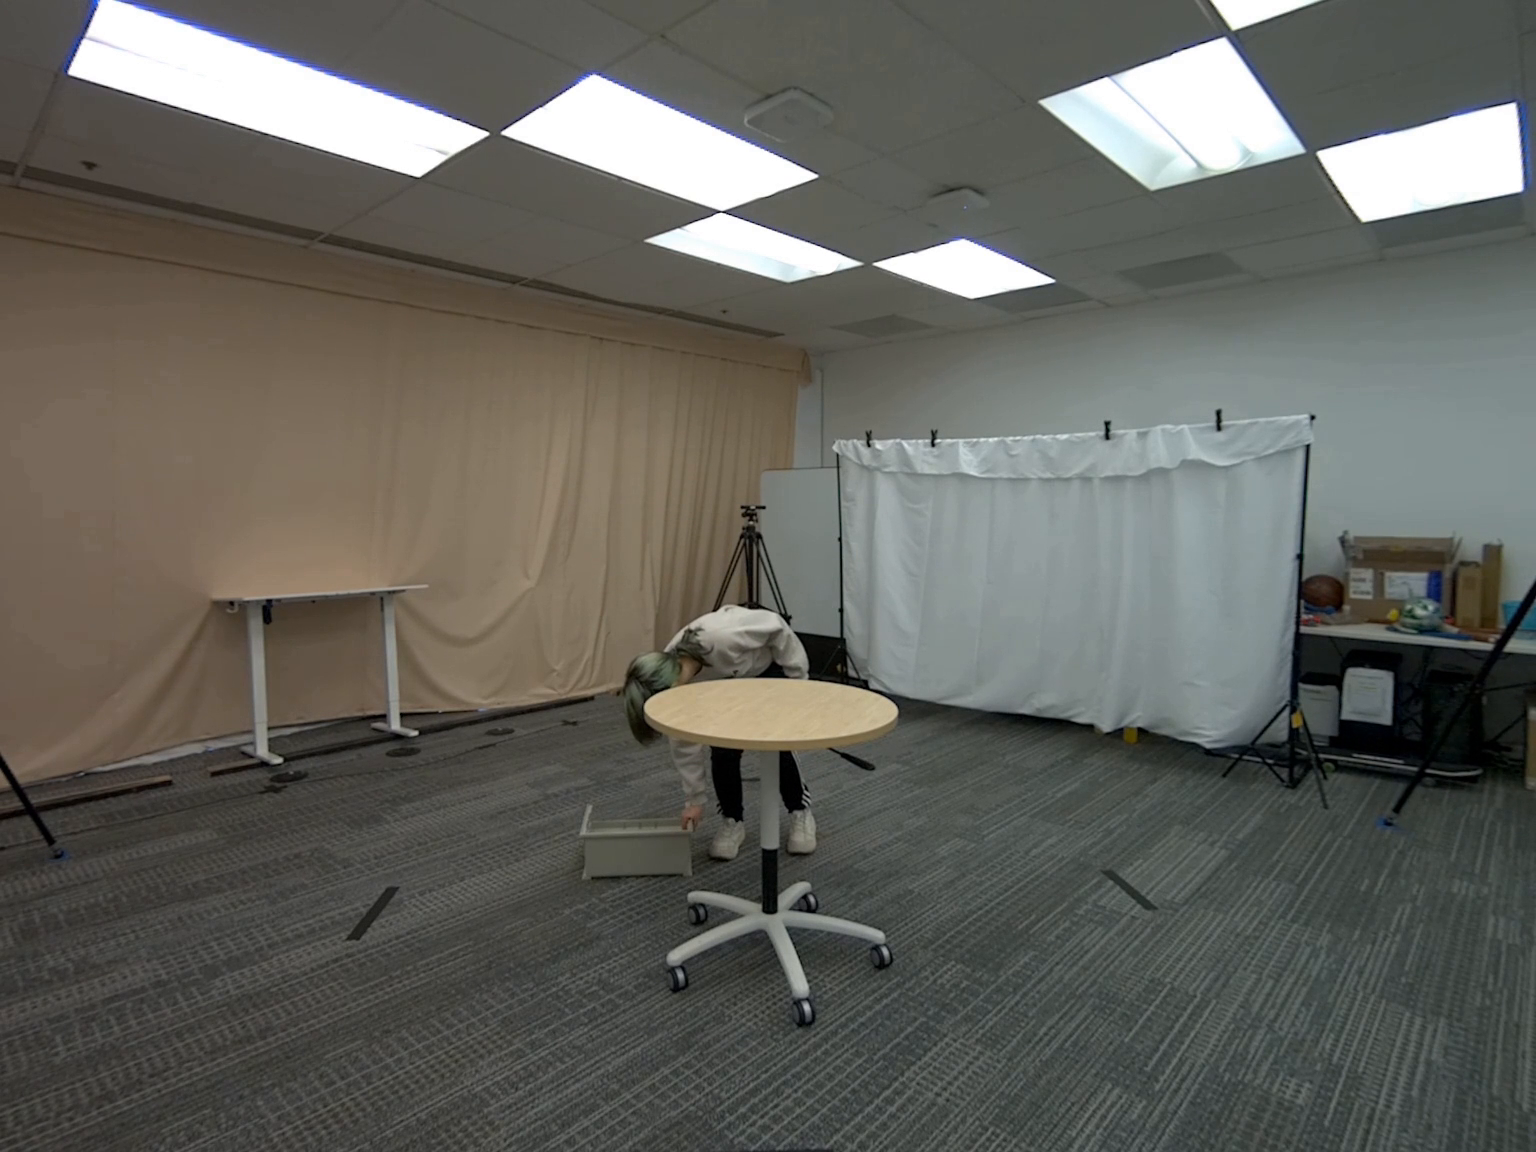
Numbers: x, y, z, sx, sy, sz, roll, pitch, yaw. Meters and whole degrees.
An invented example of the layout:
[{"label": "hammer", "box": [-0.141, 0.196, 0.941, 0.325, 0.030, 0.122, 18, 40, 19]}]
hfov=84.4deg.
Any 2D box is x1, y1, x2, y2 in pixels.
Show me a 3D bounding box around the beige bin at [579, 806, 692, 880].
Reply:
[{"label": "beige bin", "box": [-0.516, 1.030, 3.331, 0.420, 0.188, 0.380, 0, 6, -5]}]
